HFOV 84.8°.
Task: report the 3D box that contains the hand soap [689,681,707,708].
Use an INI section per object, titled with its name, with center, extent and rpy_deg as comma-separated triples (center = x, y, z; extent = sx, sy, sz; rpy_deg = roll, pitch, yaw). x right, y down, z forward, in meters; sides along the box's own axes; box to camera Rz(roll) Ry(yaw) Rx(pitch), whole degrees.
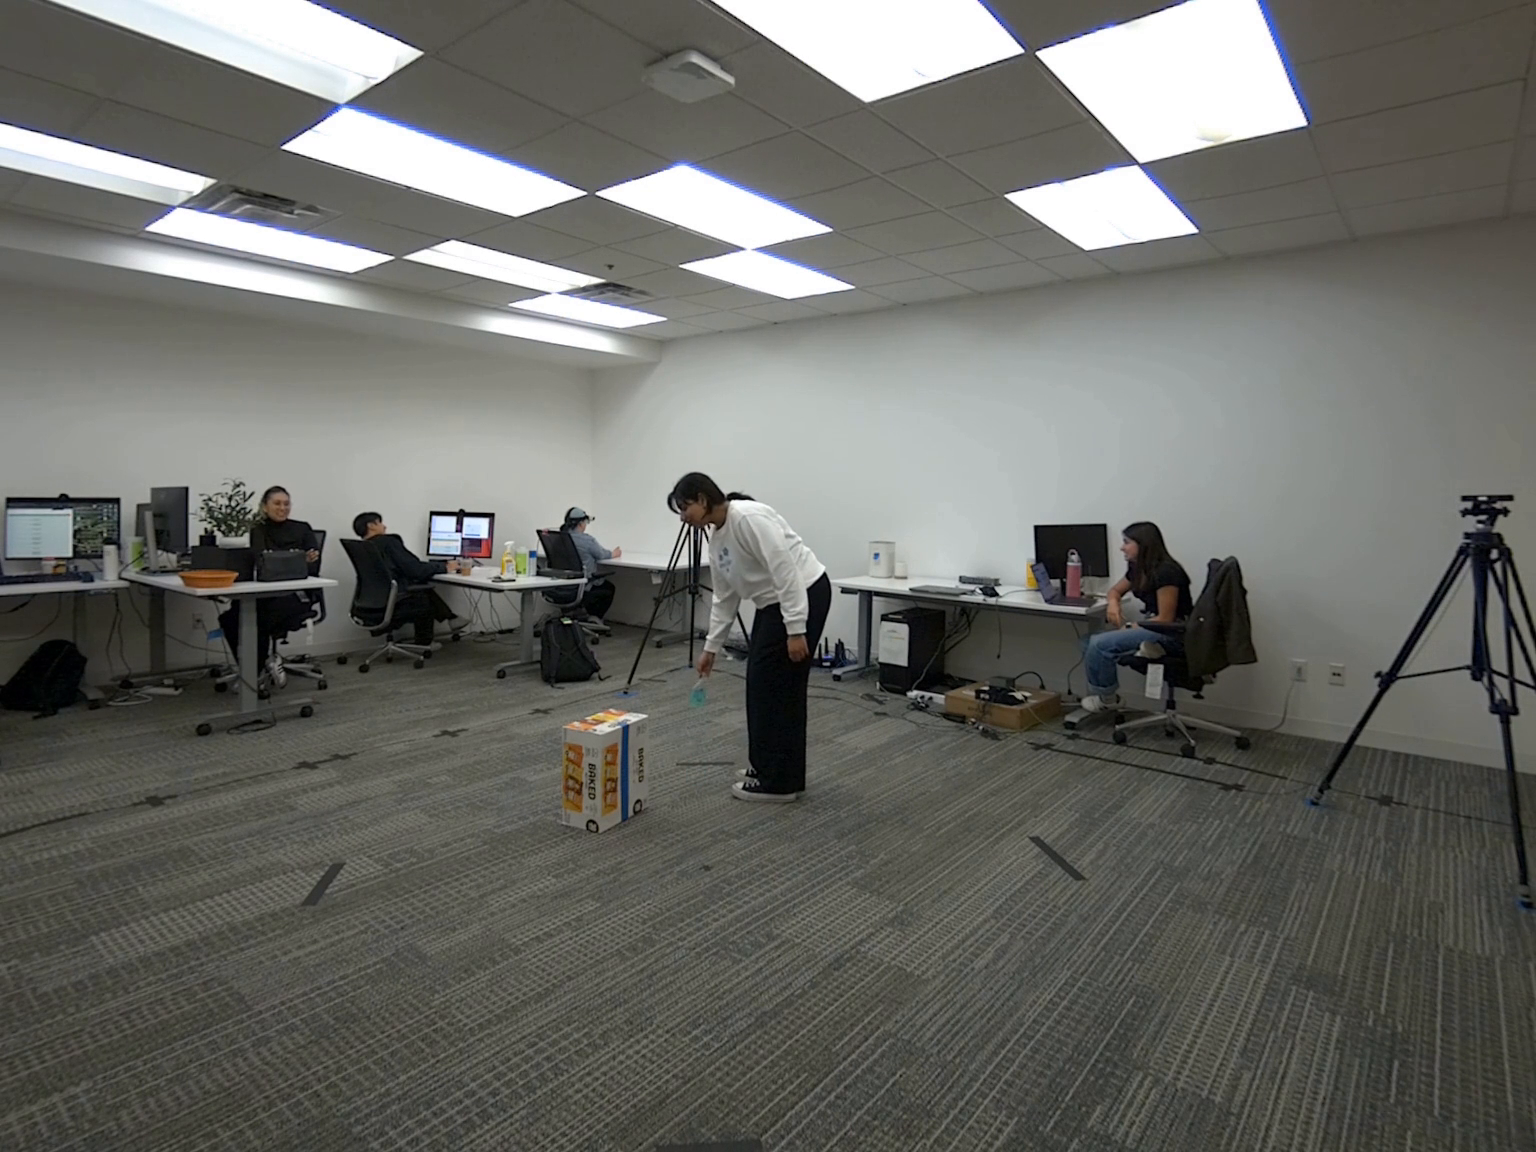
[hand soap]
center = -0.313, 0.617, 4.038
extent = 0.085, 0.167, 0.043
rpy_deg = -12, 7, 3
